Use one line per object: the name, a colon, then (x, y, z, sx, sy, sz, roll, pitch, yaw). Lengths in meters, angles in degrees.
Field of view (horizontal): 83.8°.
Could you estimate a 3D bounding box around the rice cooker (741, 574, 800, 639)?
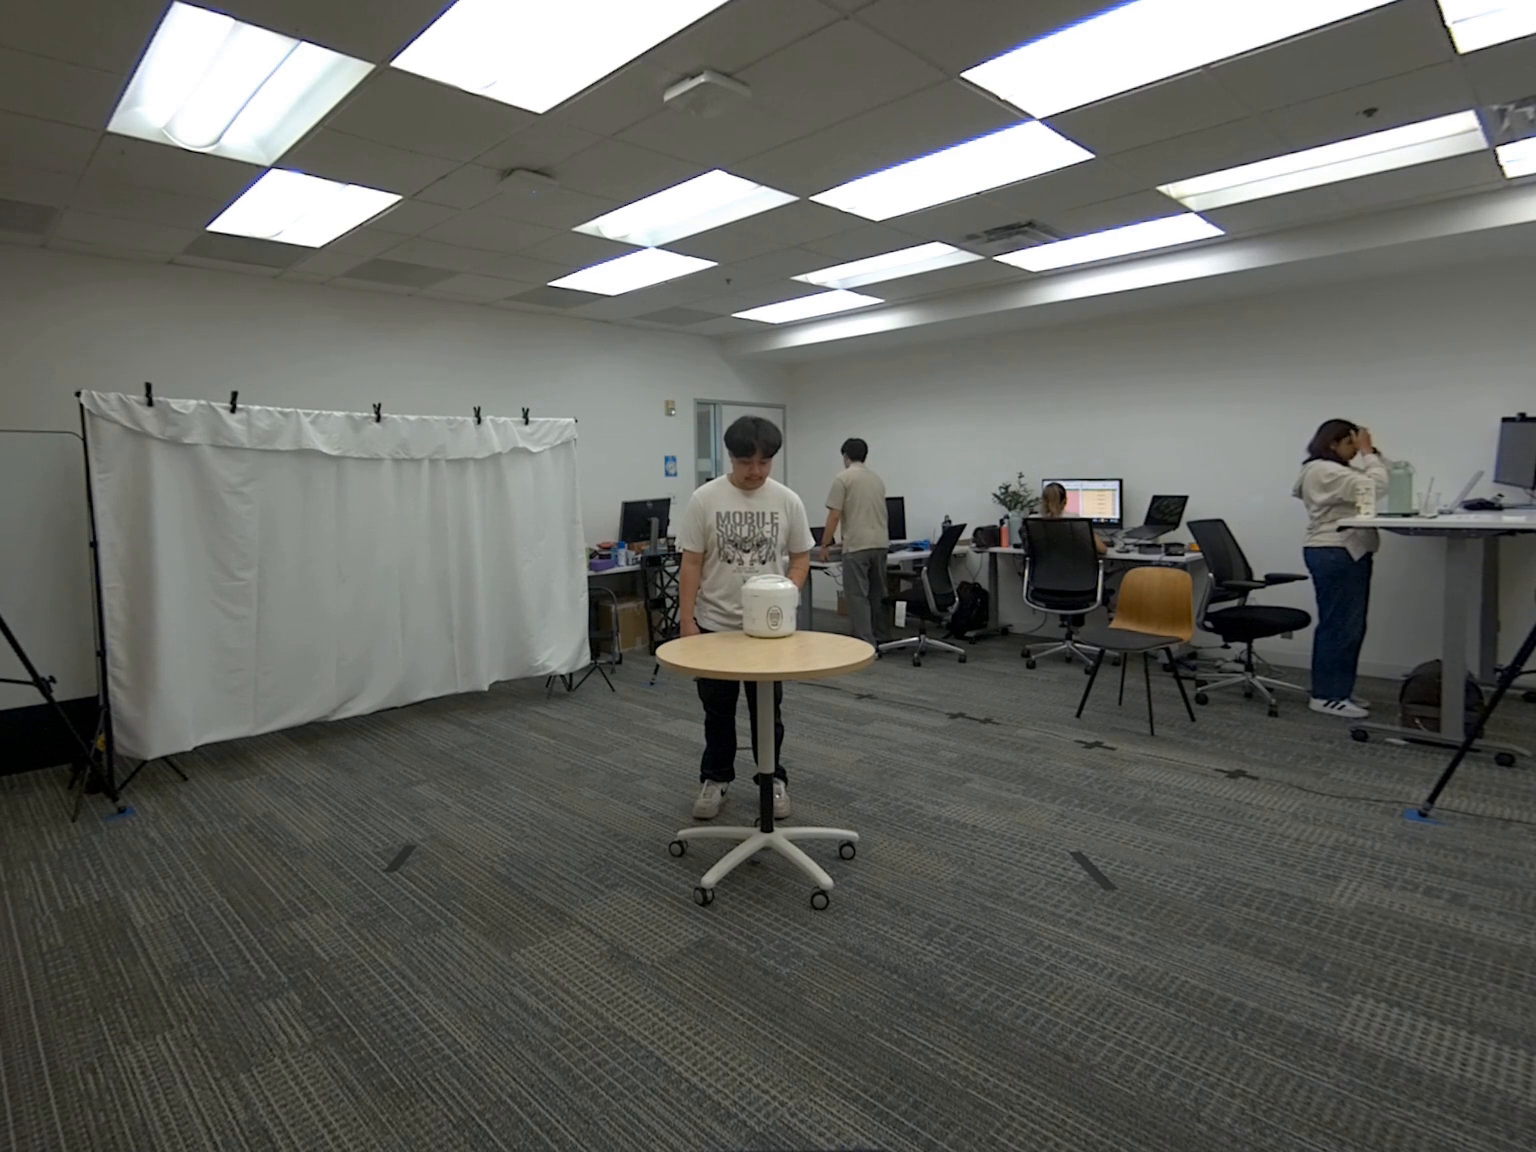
rice cooker: (0.003, 0.113, 3.282, 0.219, 0.232, 0.220, -2, 4, -8)
